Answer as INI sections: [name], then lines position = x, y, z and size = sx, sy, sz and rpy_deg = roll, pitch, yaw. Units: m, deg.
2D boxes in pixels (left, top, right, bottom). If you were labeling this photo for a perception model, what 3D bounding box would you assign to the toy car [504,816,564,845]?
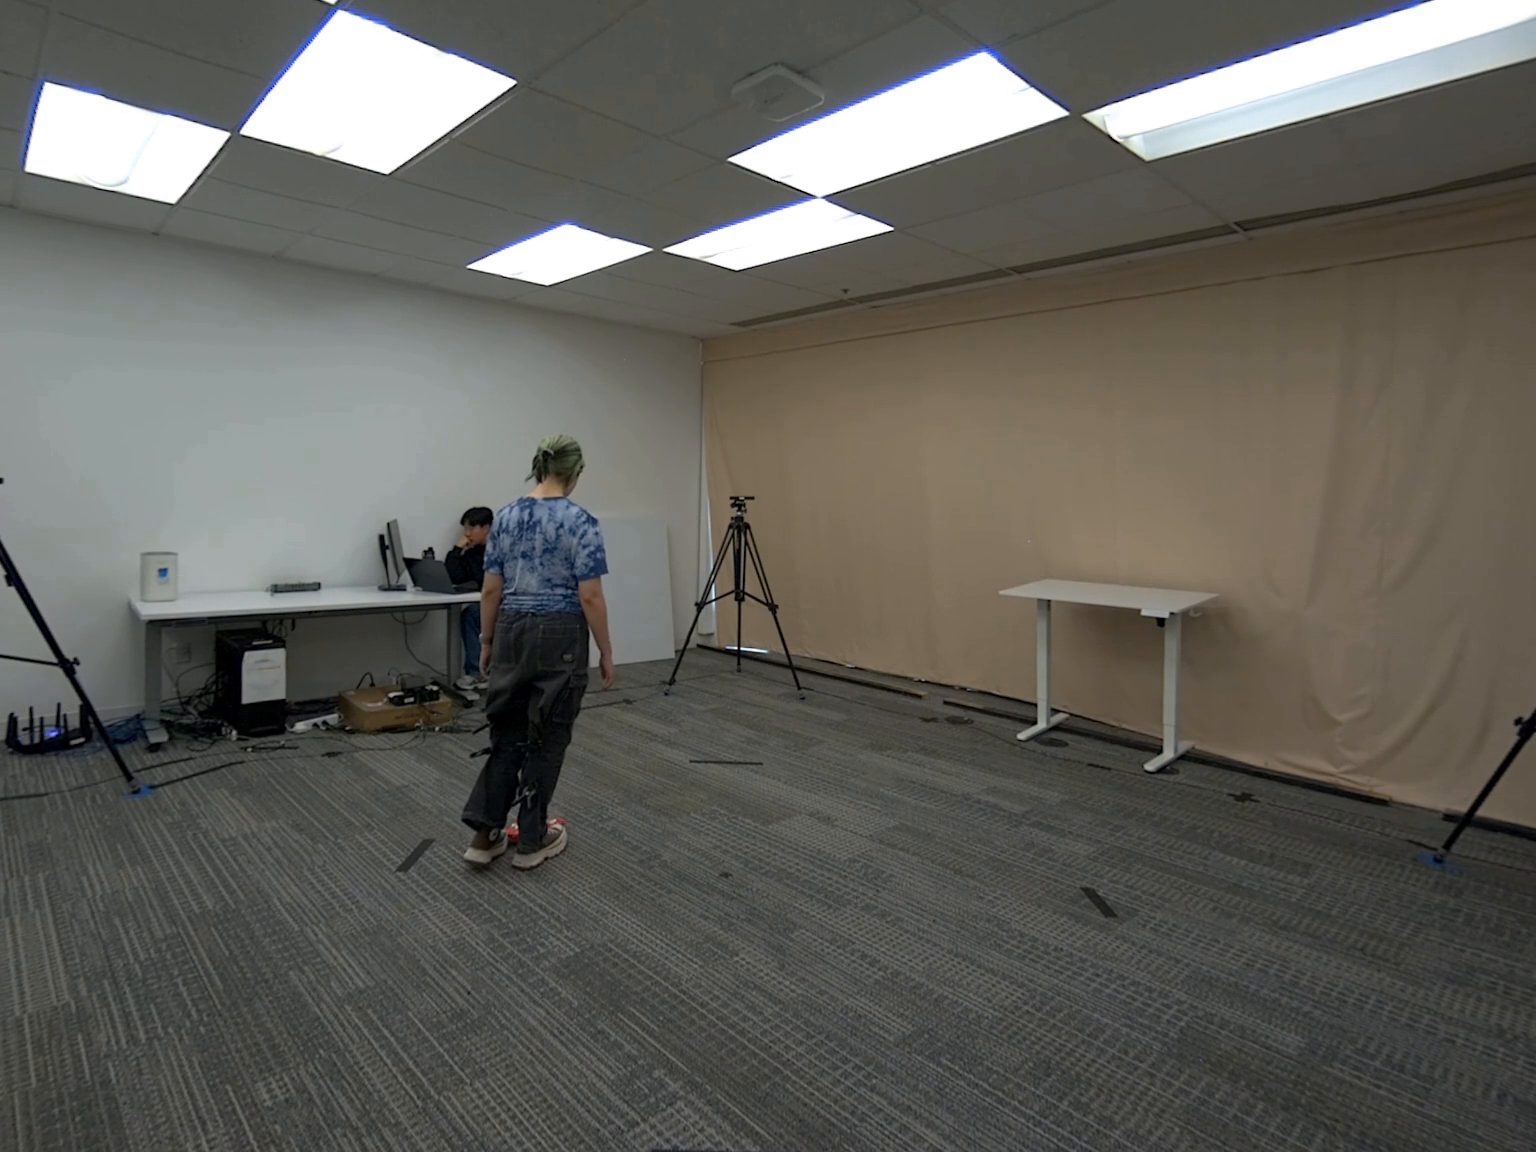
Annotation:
[toy car]
position = -0.961, 1.026, 3.405
size = 0.247, 0.083, 0.133
rpy_deg = 12, -4, -44
